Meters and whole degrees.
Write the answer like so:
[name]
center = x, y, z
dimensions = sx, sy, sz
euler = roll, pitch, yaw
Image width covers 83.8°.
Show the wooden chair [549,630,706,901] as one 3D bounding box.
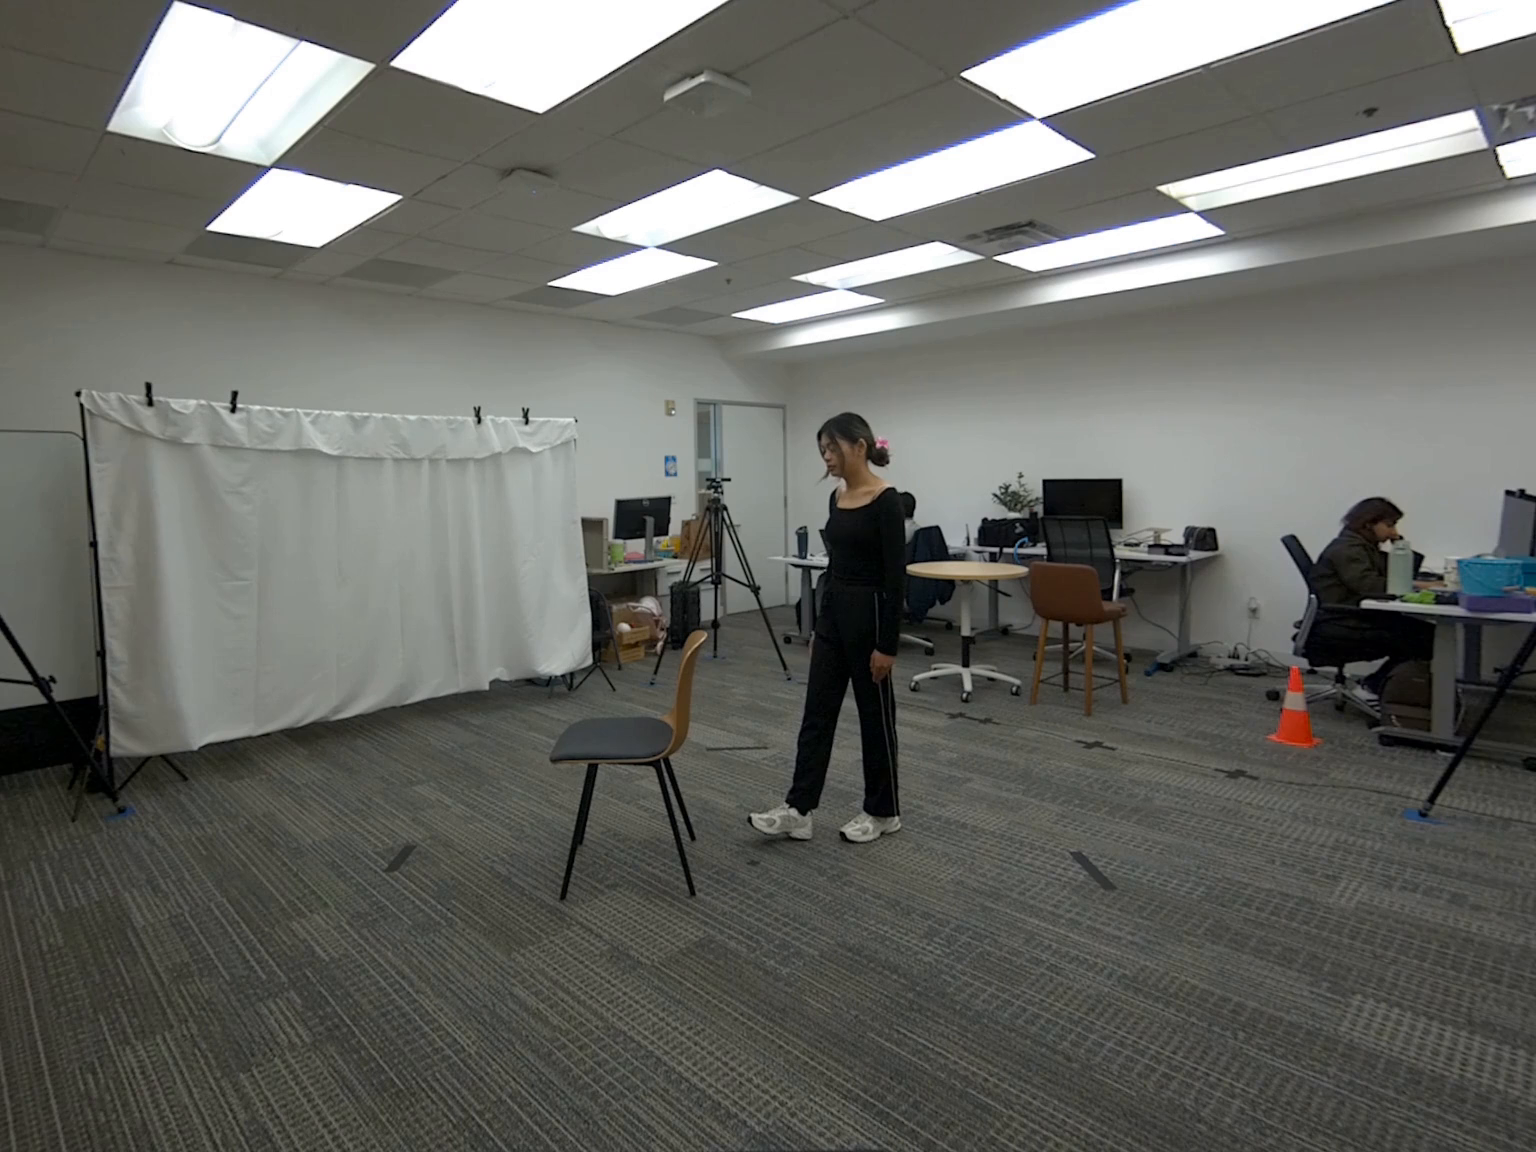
[wooden chair]
center = -0.499, 0.628, 3.040
dimensions = 0.521, 0.874, 0.482
euler = 3, 5, -4
